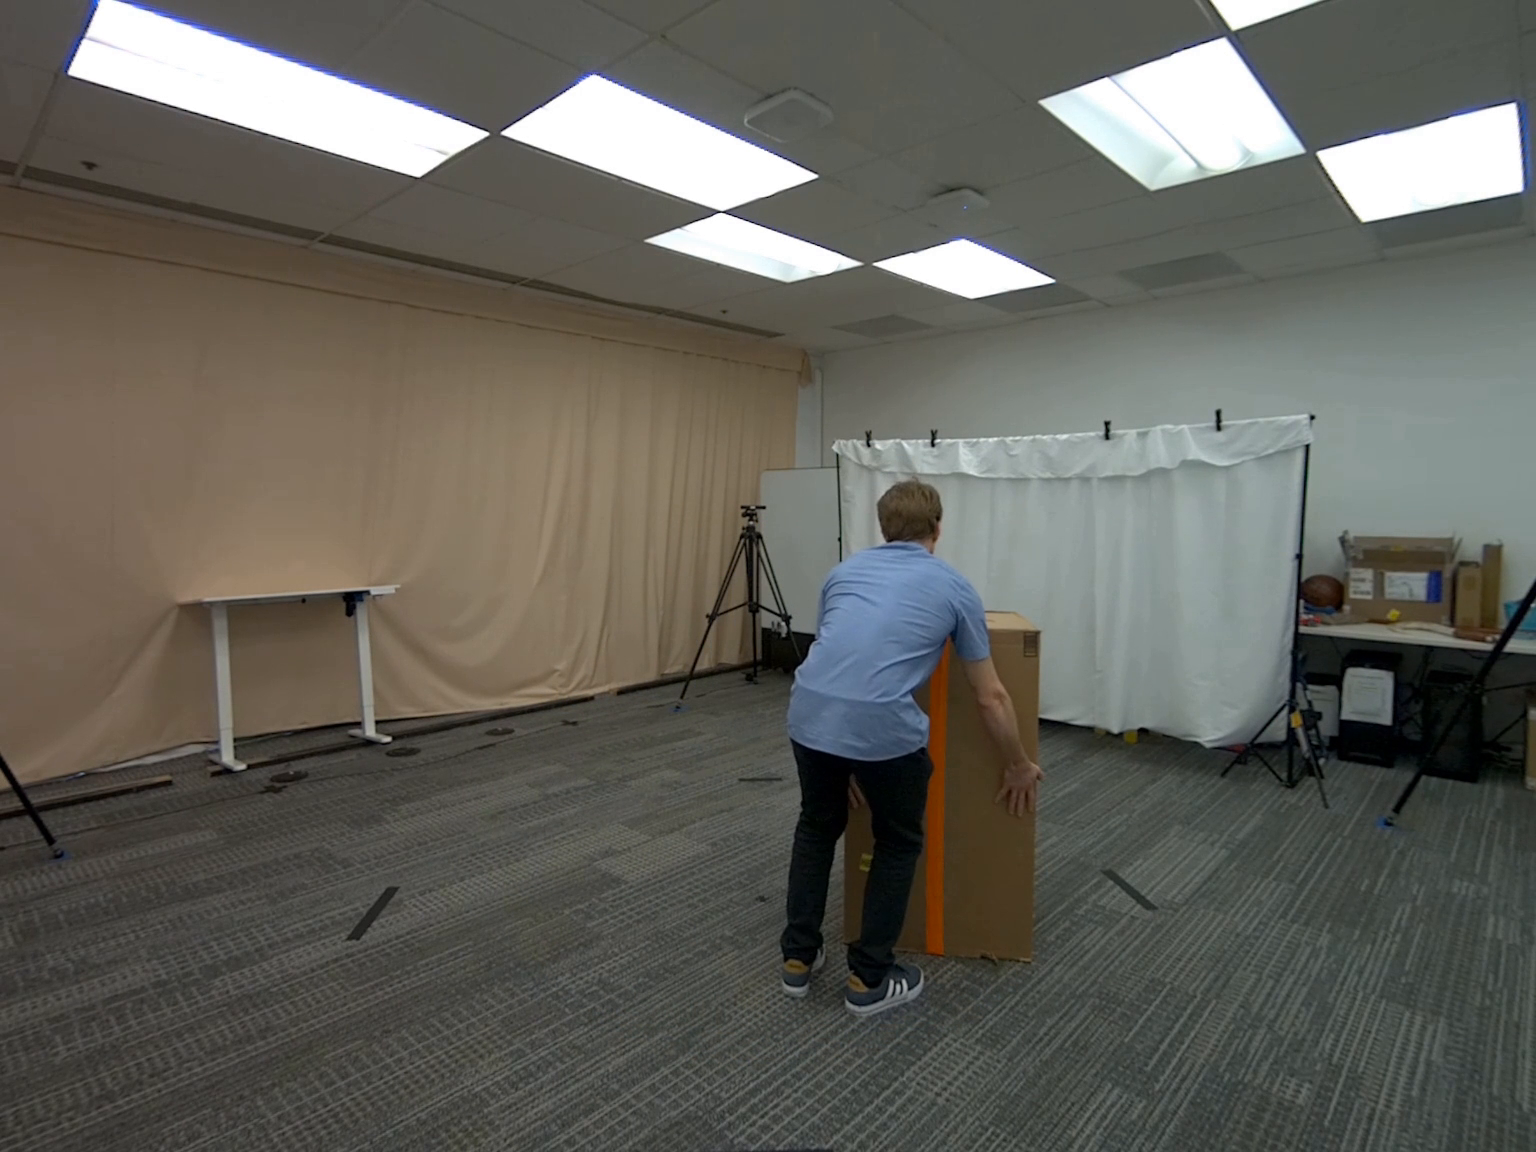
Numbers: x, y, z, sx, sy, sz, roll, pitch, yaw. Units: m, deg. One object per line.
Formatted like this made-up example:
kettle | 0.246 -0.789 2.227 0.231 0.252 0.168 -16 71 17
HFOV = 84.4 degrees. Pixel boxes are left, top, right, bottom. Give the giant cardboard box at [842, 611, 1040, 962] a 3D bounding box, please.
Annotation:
giant cardboard box | 0.562 0.650 2.792 0.585 1.024 0.421 1 3 12
